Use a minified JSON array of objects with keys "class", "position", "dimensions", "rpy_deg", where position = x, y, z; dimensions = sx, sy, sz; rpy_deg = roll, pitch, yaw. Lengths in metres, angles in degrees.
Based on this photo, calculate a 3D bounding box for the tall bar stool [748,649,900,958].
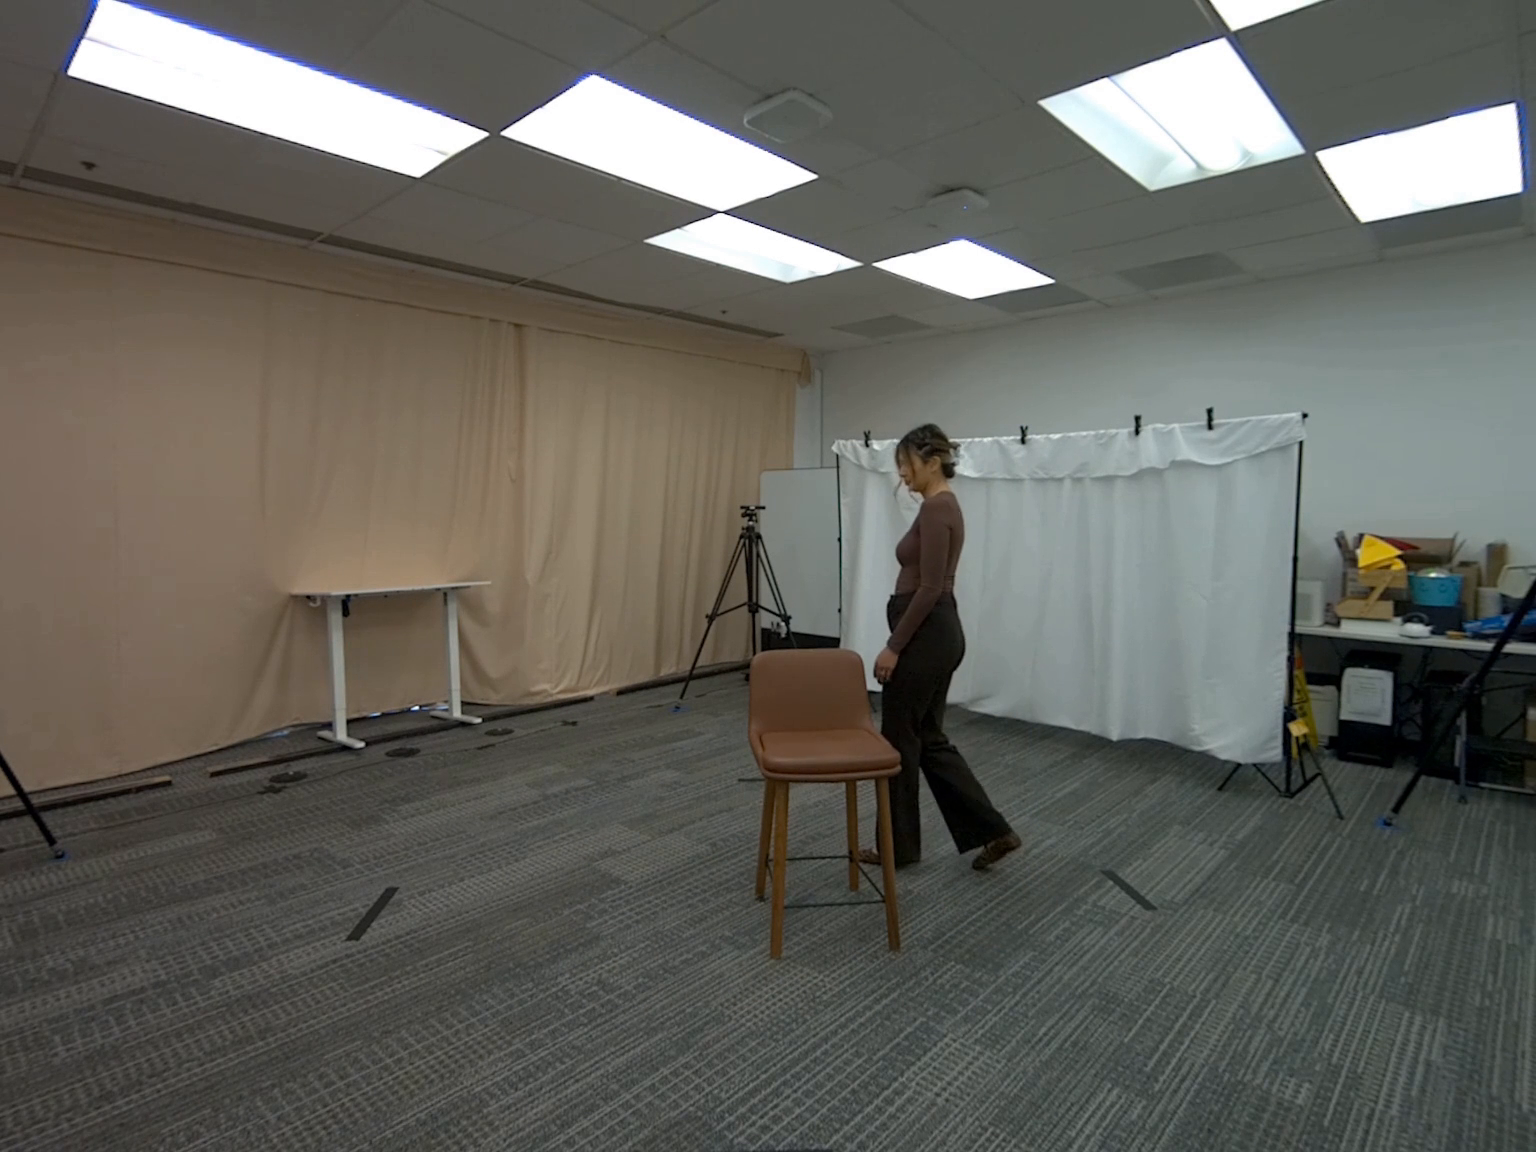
[{"class":"tall bar stool","position":[0.179,0.725,2.809],"dimensions":[0.452,0.889,0.472],"rpy_deg":[0,2,-9]}]
